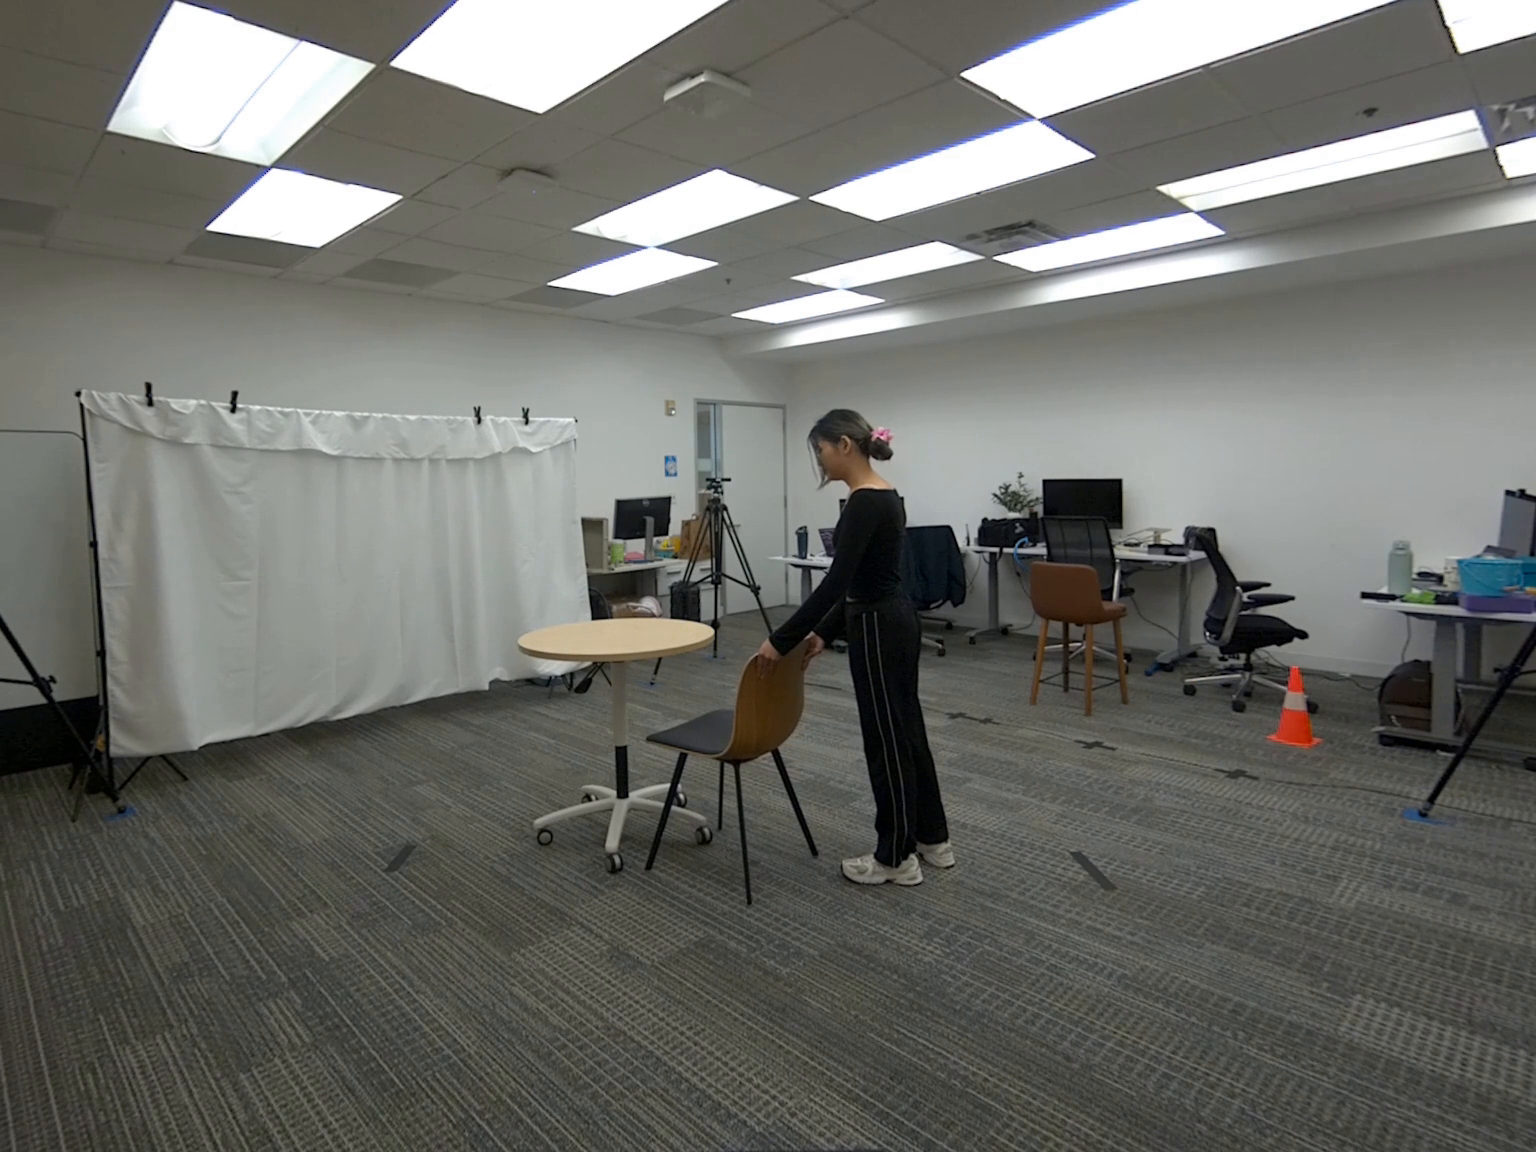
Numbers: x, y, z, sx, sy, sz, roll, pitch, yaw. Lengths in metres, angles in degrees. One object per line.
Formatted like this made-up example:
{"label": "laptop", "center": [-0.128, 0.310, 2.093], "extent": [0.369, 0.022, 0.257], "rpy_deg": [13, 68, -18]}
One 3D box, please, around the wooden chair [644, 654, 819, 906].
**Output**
{"label": "wooden chair", "center": [-0.137, 0.617, 3.075], "extent": [0.539, 0.872, 0.466], "rpy_deg": [7, 8, 34]}
